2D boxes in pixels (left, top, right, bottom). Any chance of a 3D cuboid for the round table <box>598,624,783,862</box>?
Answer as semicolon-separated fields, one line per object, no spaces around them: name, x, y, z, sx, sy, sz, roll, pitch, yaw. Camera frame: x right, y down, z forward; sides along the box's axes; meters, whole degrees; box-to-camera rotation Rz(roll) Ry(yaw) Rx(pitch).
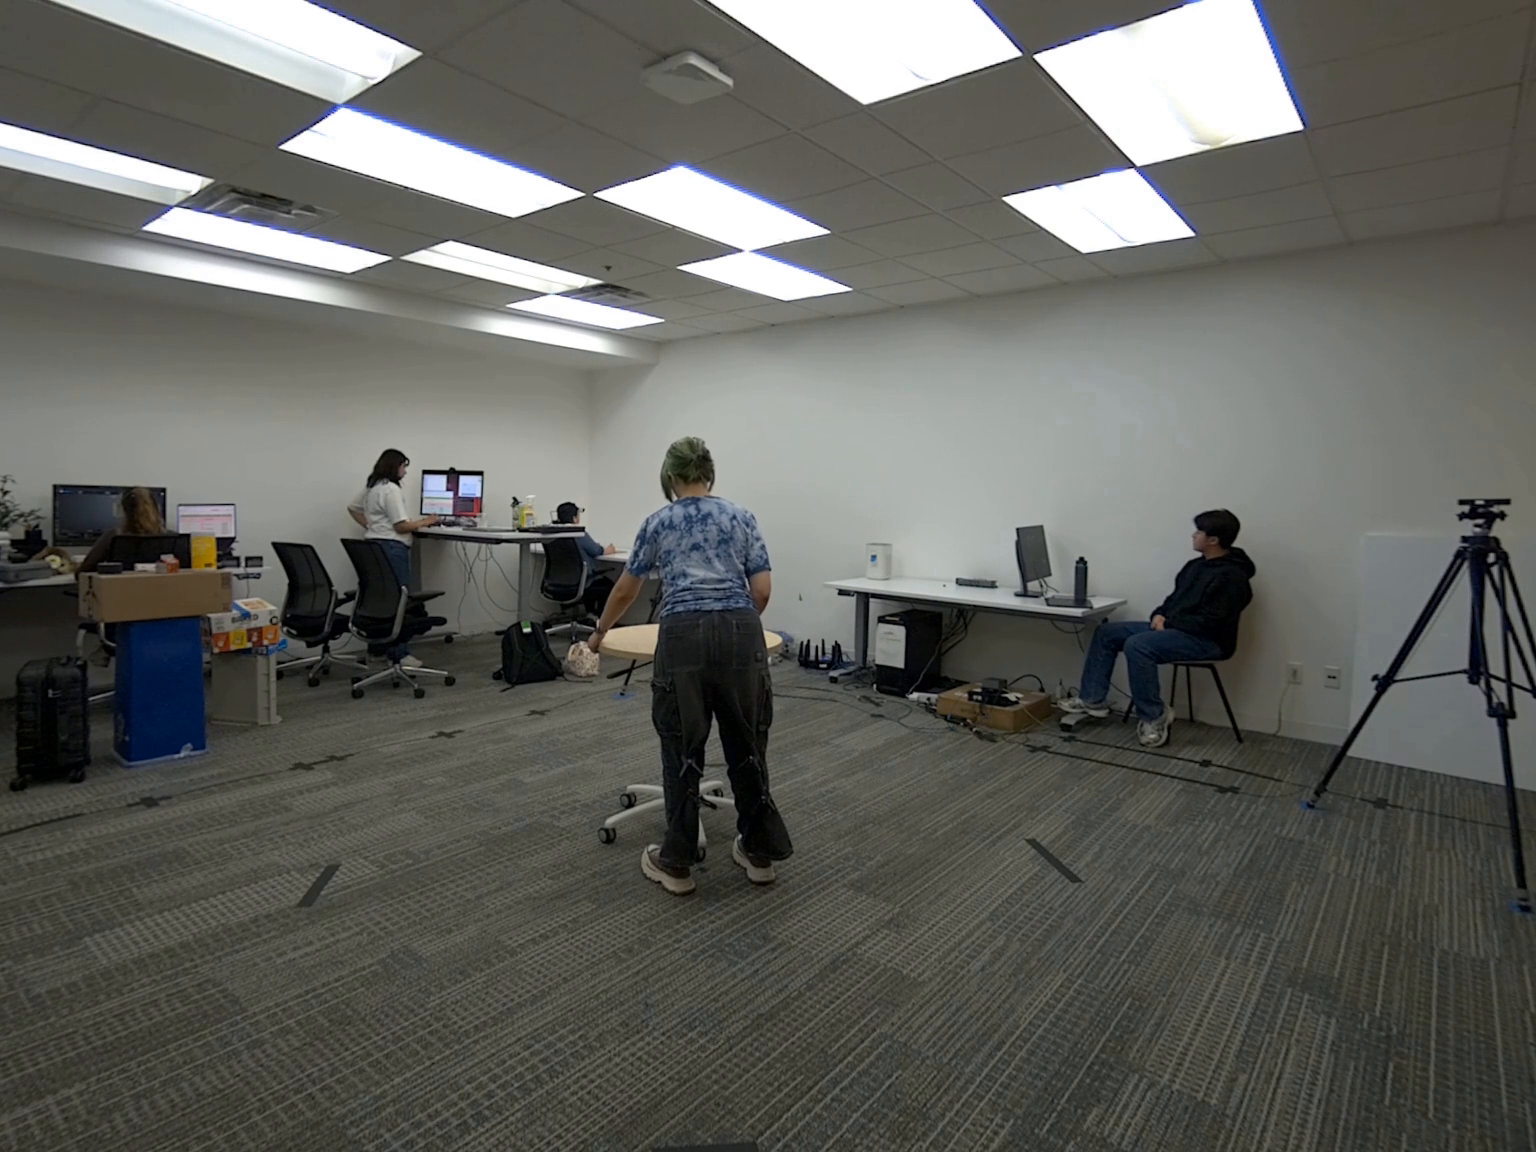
round table;-0.356;0.642;3.474;0.763;0.792;0.767;0;4;-2
